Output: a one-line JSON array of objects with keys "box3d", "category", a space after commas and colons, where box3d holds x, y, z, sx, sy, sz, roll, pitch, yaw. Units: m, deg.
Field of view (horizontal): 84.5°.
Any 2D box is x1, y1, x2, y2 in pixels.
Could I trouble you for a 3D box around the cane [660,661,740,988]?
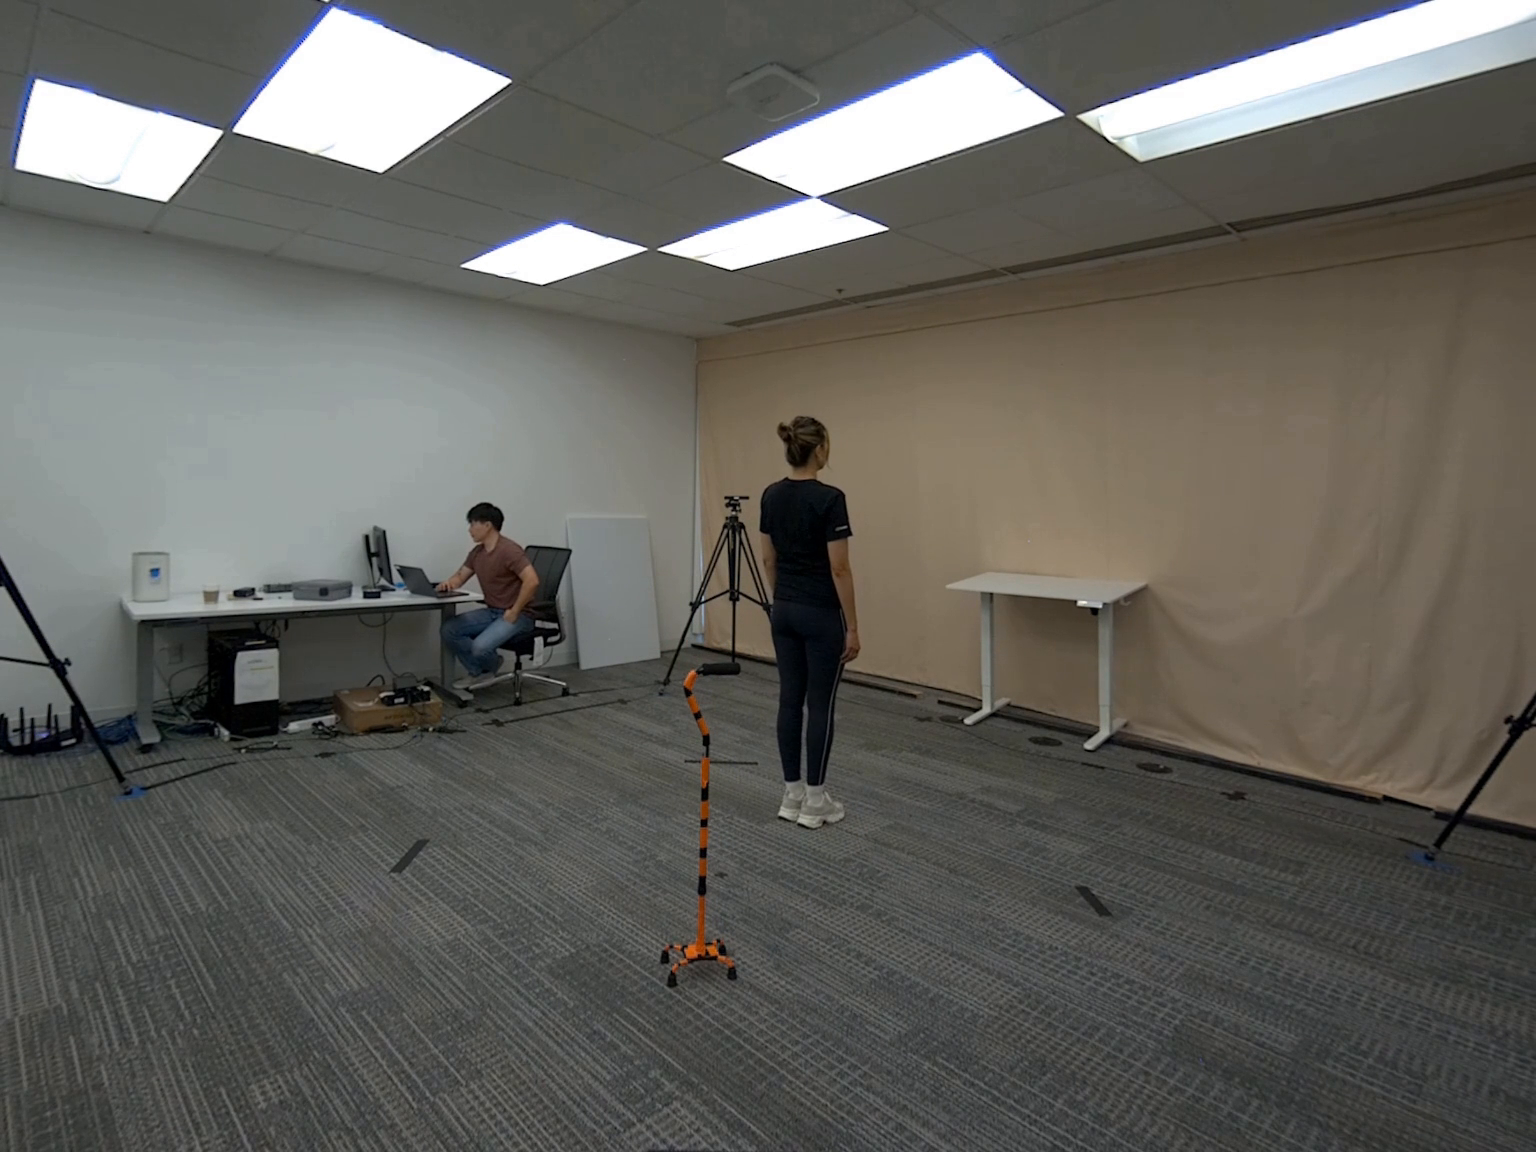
[{"box3d": [-0.196, 0.711, 2.446, 0.204, 0.905, 0.154, 1, 4, -15], "category": "cane"}]
